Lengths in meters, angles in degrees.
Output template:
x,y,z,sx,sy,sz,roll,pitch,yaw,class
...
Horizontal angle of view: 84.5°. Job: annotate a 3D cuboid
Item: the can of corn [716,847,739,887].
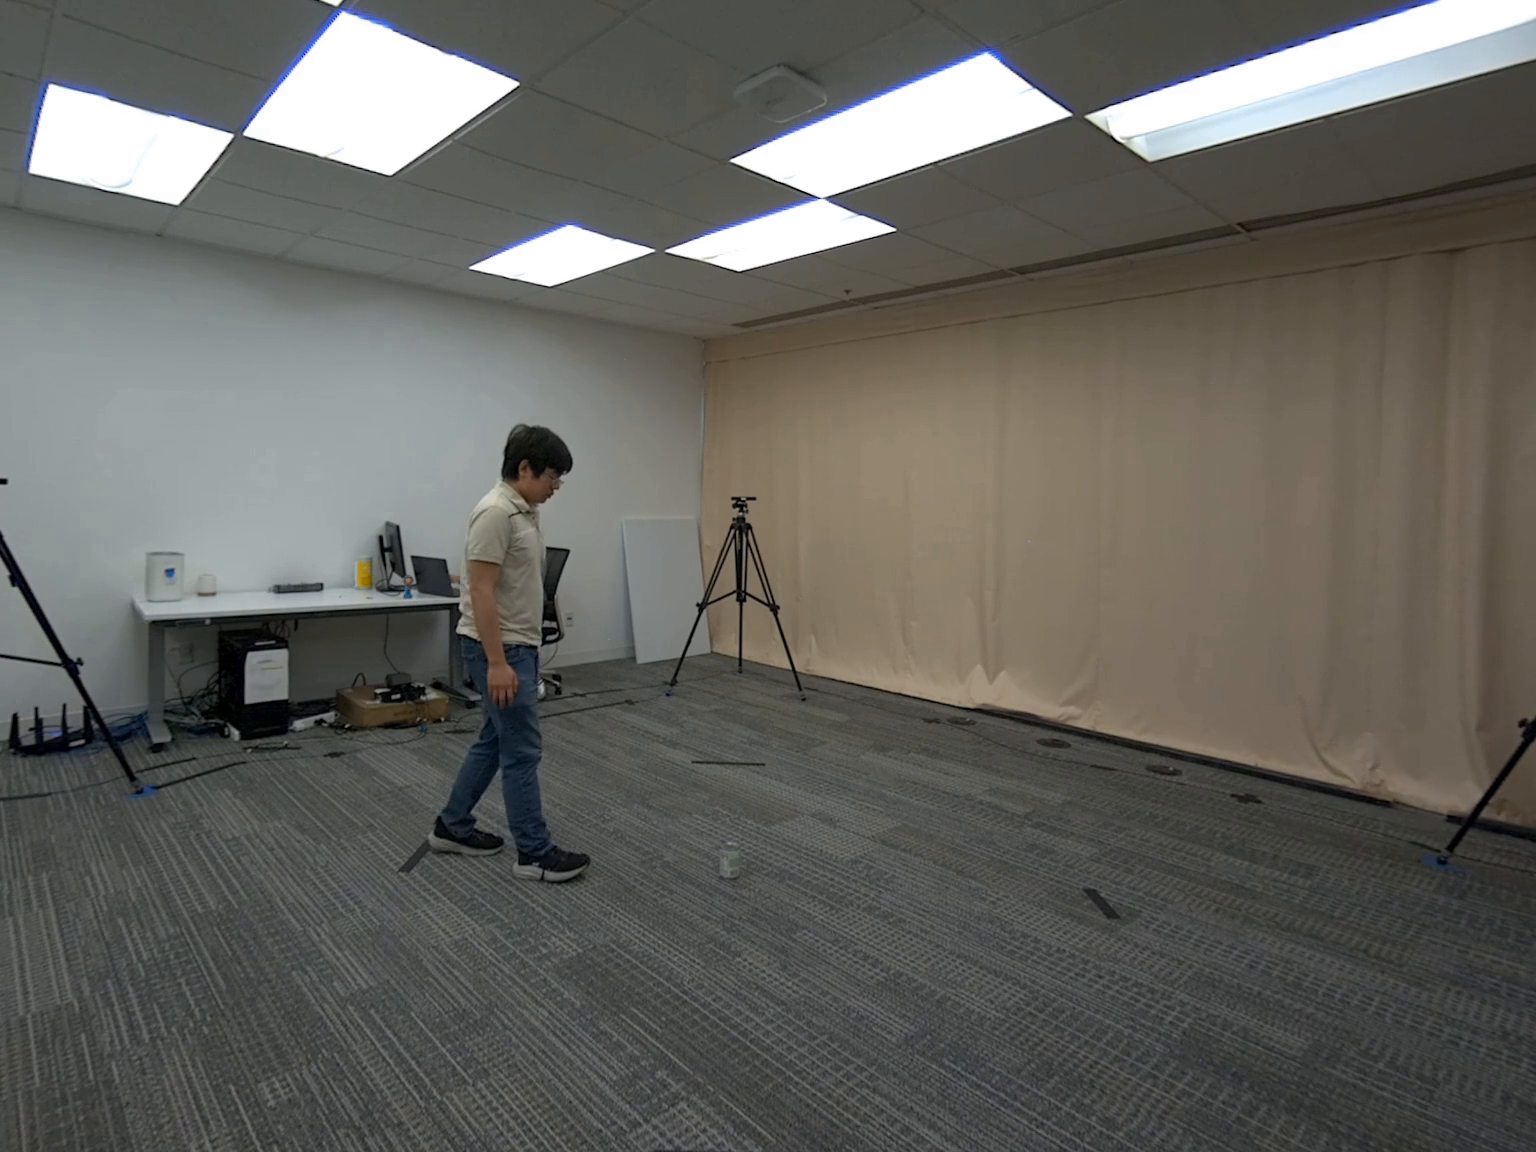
x,y,z,sx,sy,sz,roll,pitch,yaw,class
-0.151,1.064,3.101,0.074,0.111,0.074,-2,3,-1,can of corn
